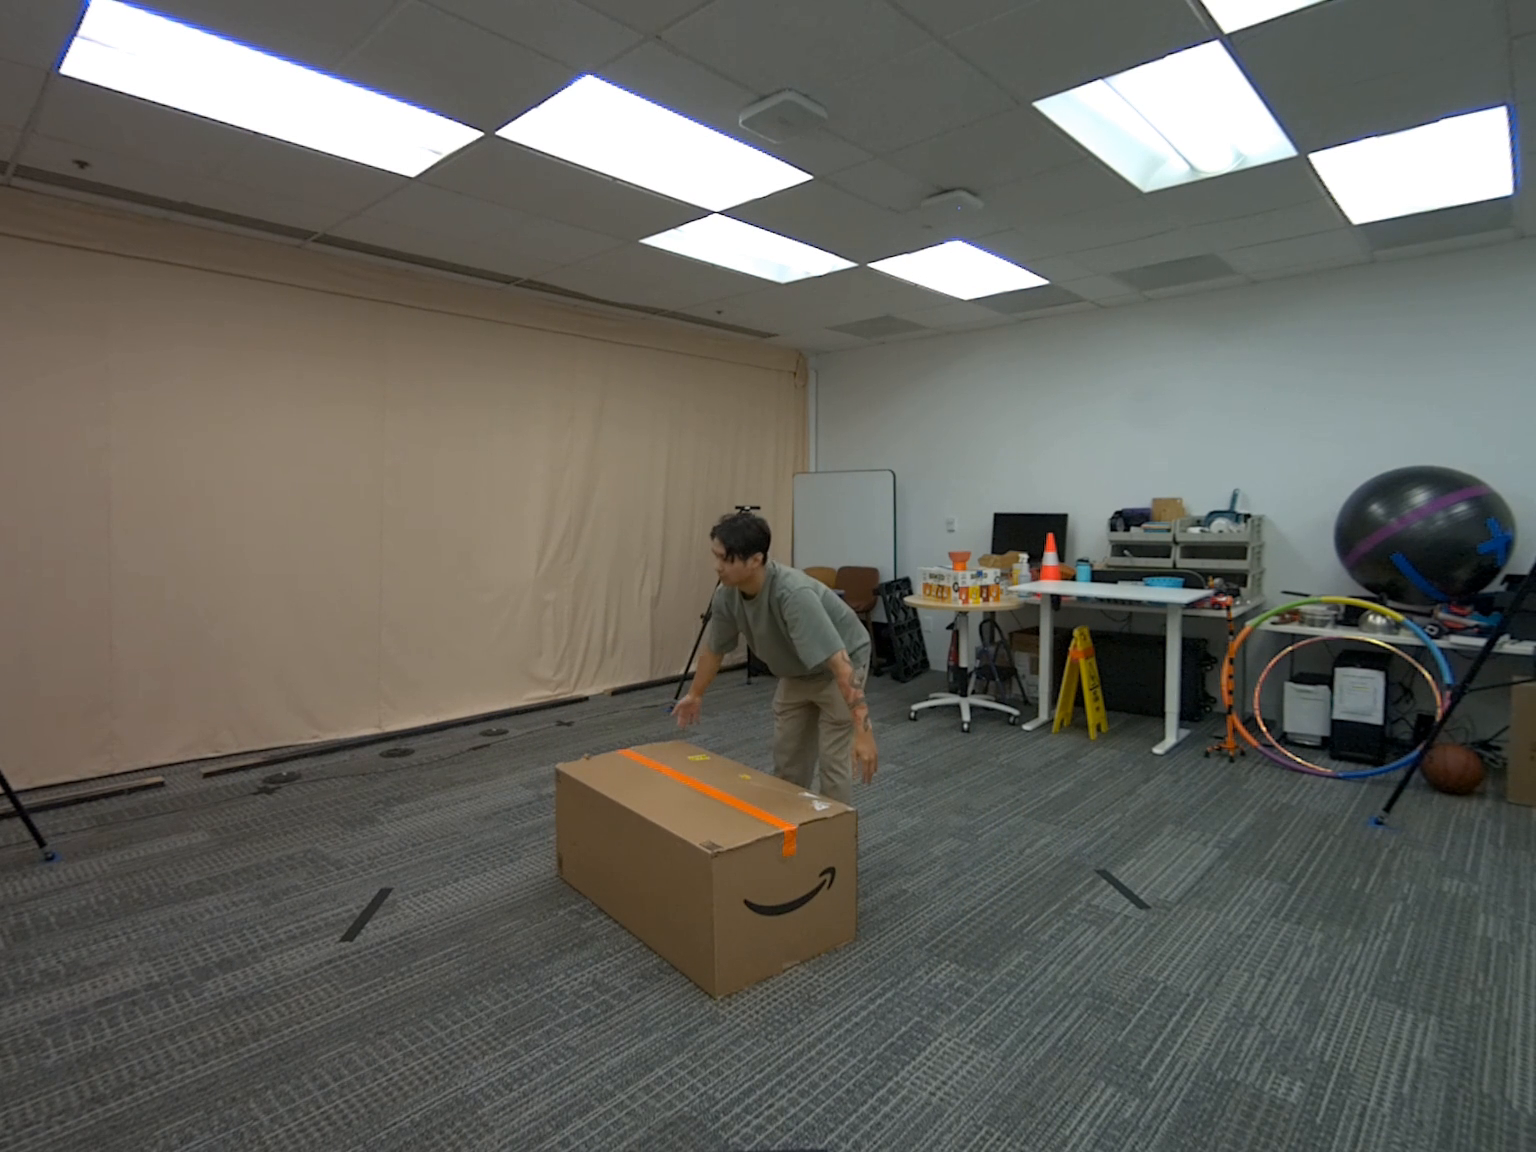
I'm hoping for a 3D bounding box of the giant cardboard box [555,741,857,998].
[{"bbox_3d":[-0.258,0.934,2.933,0.560,0.425,1.059,-3,5,-38],"label":"giant cardboard box"}]
